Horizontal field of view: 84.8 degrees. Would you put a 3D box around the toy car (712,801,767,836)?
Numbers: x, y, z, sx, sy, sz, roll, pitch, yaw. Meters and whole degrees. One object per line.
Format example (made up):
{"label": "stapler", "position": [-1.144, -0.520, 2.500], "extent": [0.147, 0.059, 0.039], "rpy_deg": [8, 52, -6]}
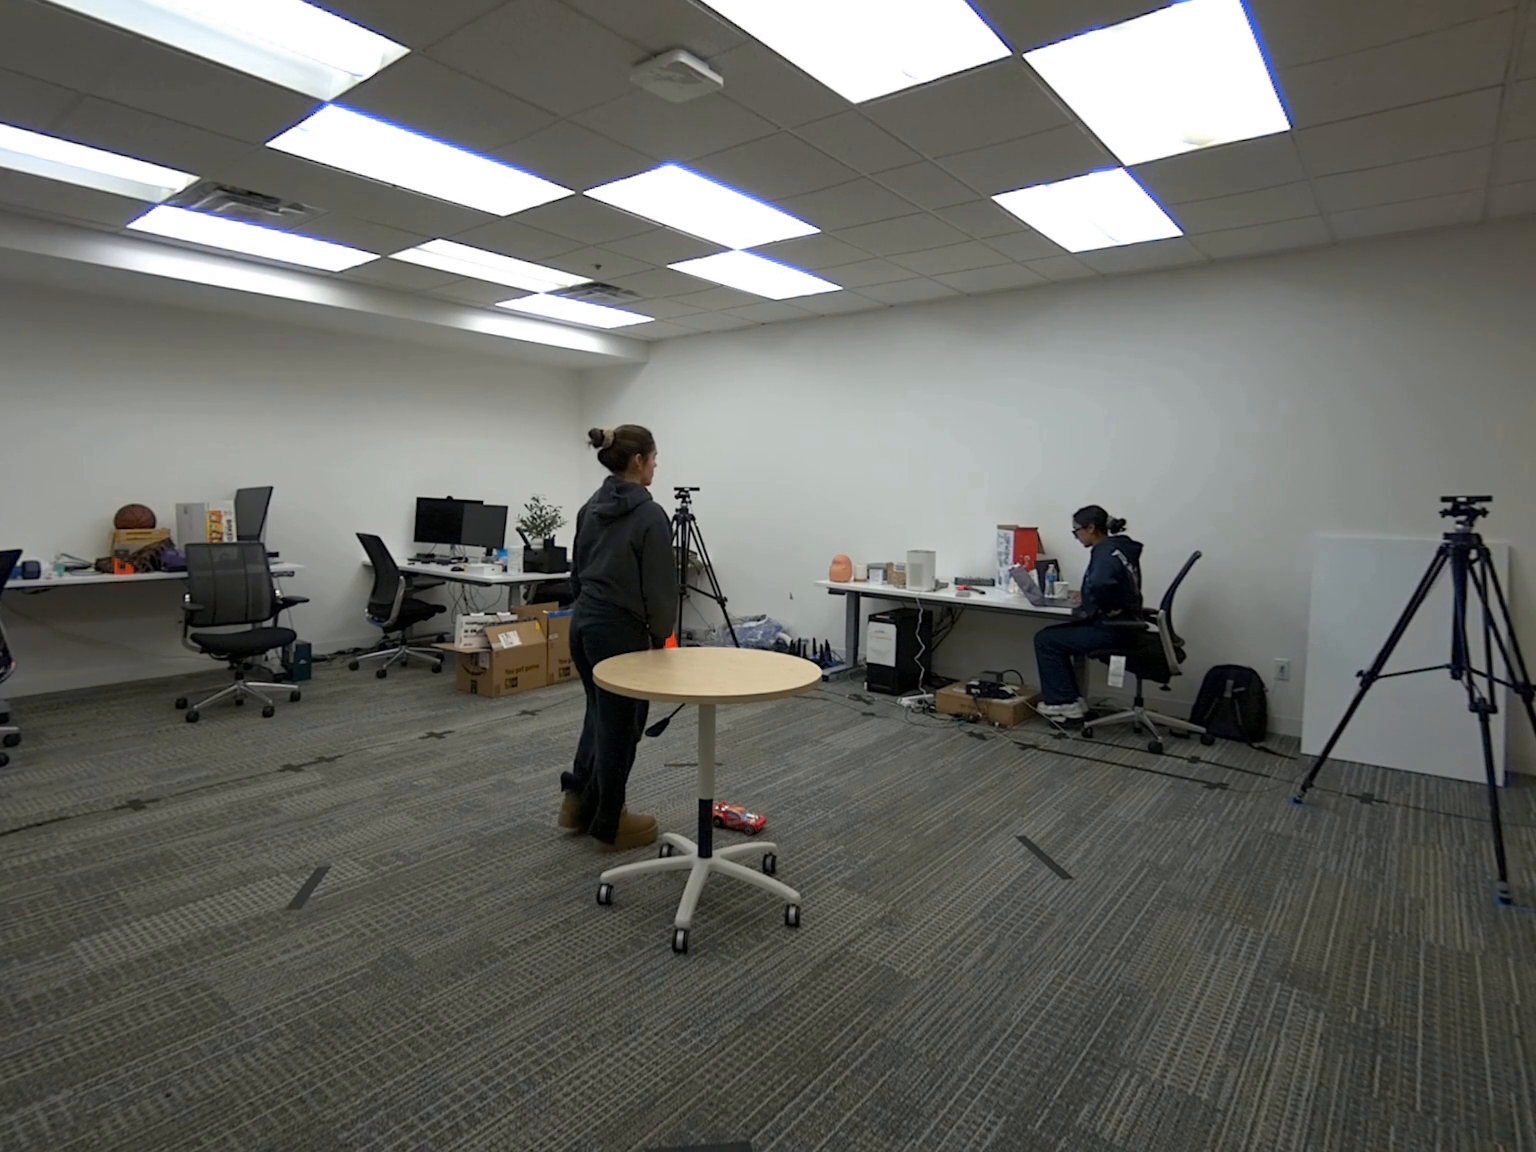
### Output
{"label": "toy car", "position": [-0.138, 1.006, 3.514], "extent": [0.262, 0.082, 0.127], "rpy_deg": [15, 11, 27]}
